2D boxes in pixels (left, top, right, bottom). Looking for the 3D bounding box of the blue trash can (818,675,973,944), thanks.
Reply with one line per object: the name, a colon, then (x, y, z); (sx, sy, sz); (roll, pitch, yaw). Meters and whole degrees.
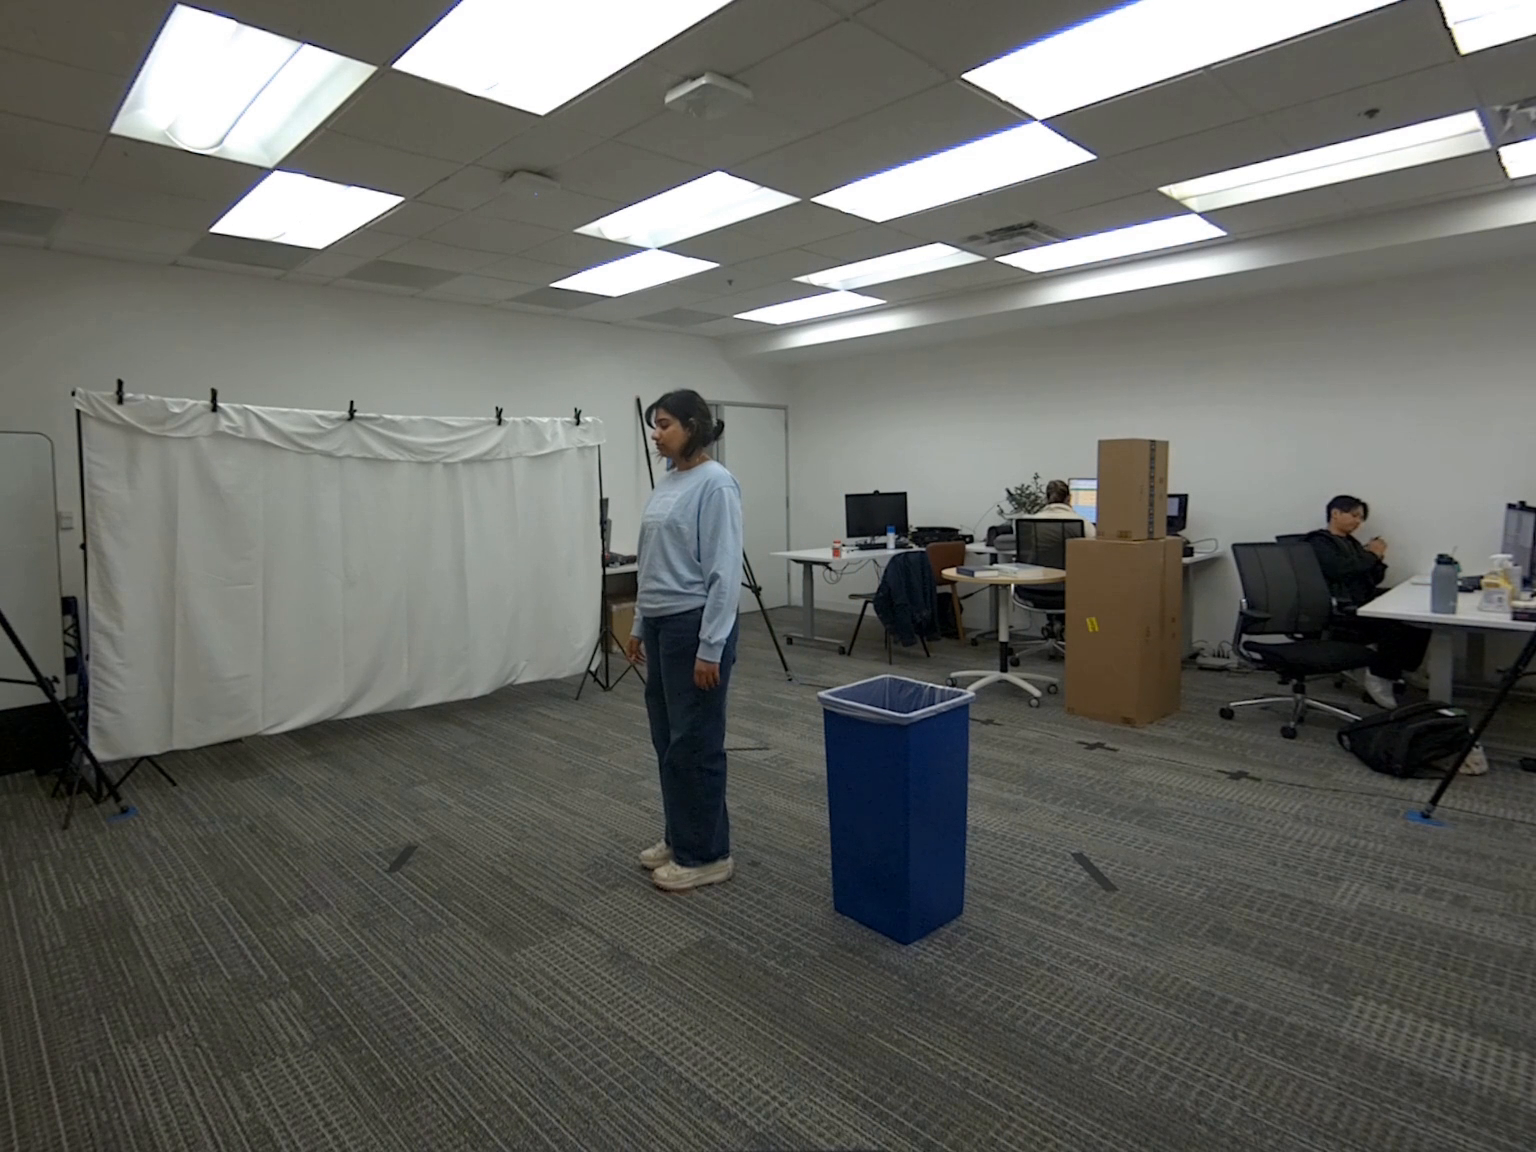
blue trash can: (0.410, 0.725, 2.715); (0.364, 0.711, 0.389); (-5, 5, -41)
